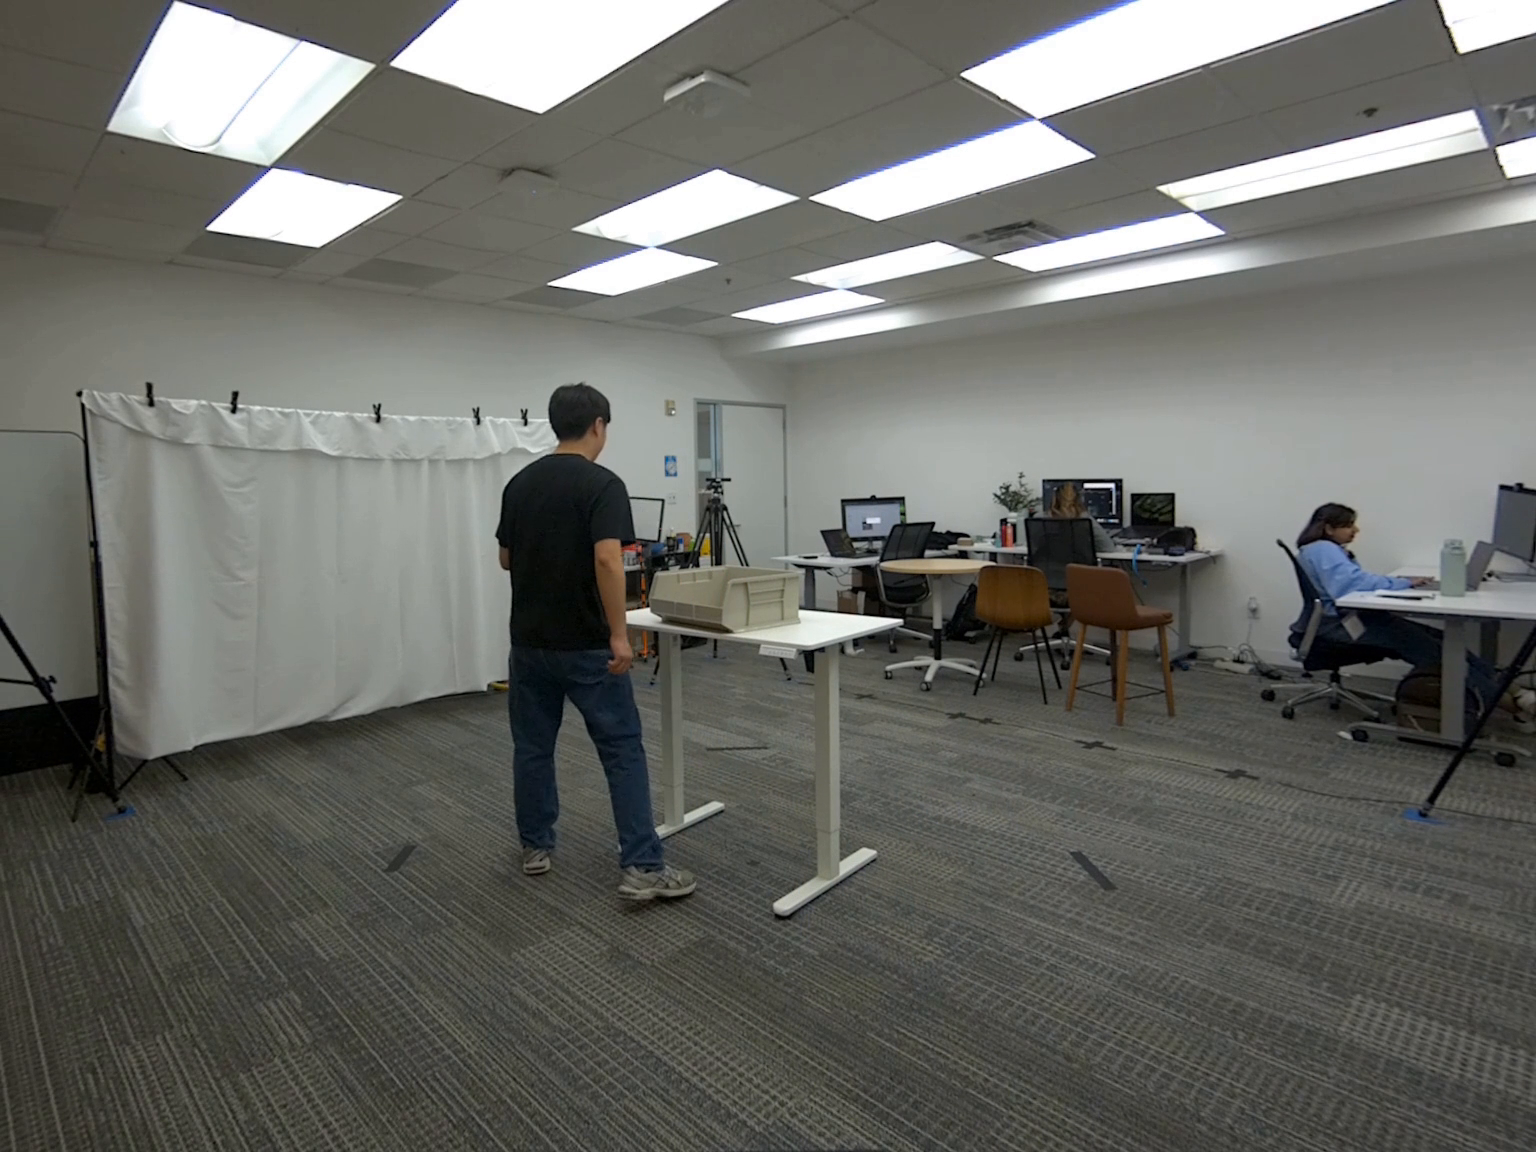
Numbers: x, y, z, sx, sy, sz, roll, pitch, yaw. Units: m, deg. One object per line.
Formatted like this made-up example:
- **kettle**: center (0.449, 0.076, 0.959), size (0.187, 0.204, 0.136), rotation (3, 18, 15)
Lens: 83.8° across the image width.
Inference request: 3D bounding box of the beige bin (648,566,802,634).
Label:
- **beige bin**: center (-0.147, 0.076, 3.043), size (0.367, 0.188, 0.435), rotation (-4, 5, -42)
